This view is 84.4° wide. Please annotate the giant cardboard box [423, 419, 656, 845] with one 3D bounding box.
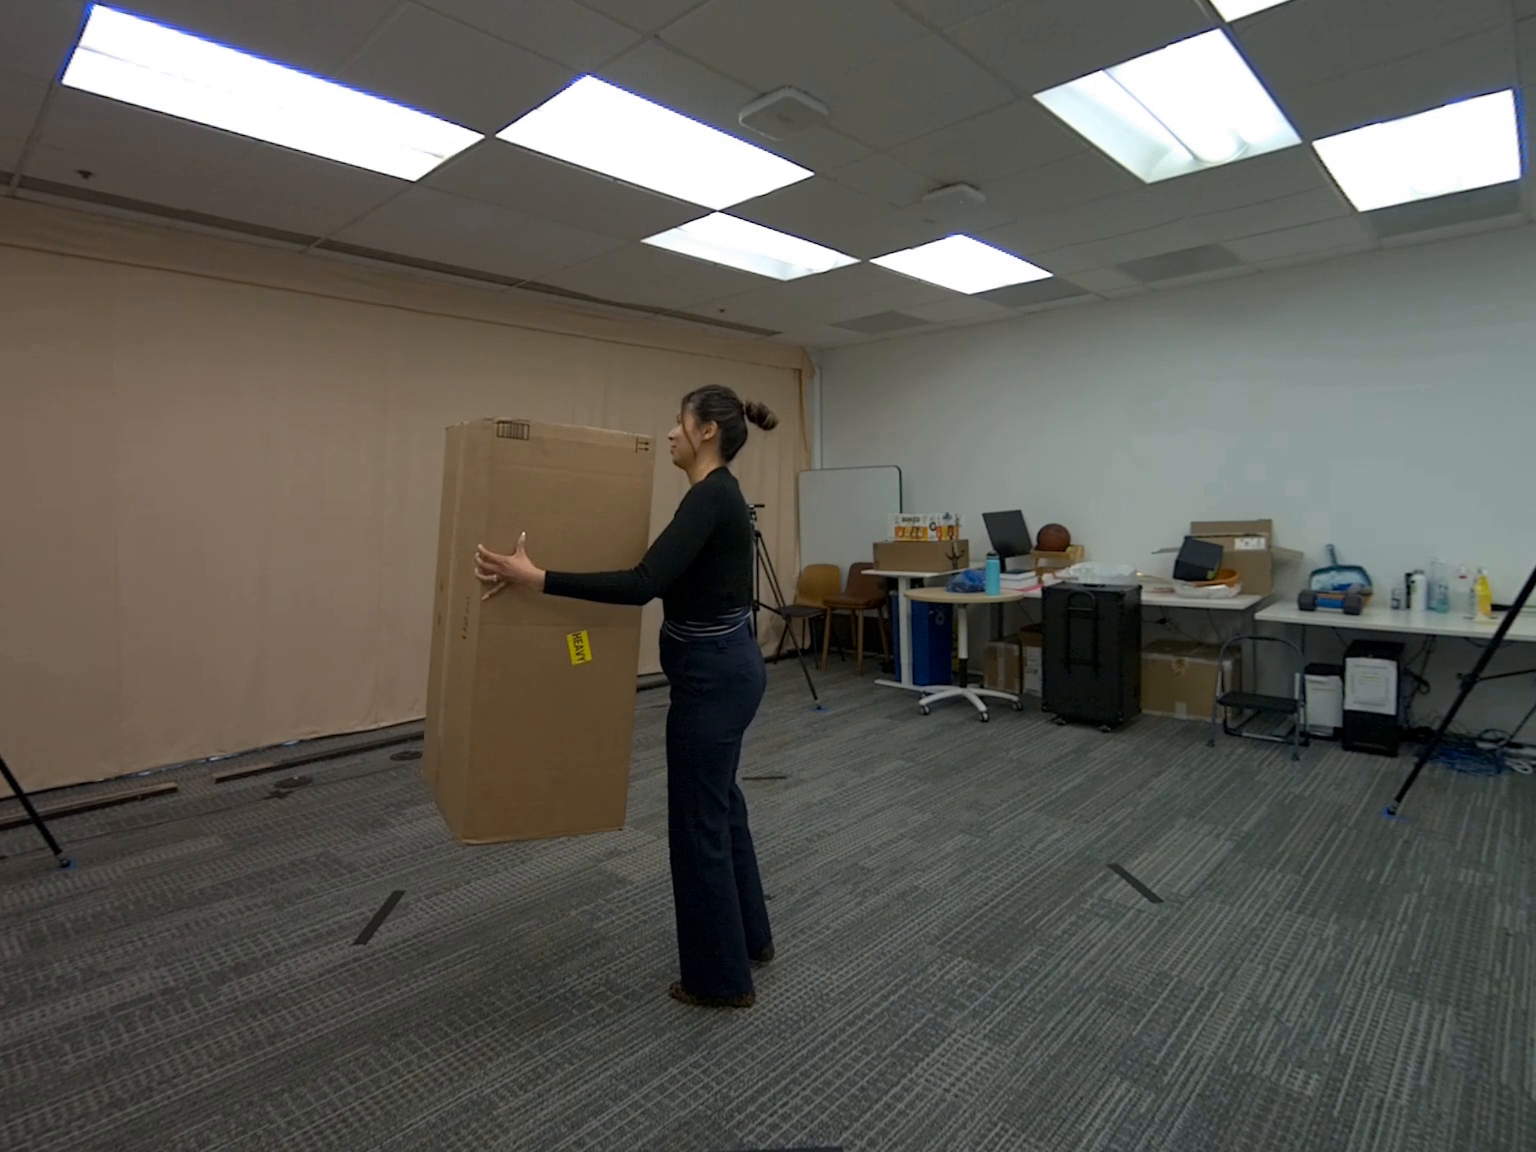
[{"bbox_3d":[-0.653,0.115,2.326,0.414,1.024,0.595,3,3,-30],"label":"giant cardboard box"}]
